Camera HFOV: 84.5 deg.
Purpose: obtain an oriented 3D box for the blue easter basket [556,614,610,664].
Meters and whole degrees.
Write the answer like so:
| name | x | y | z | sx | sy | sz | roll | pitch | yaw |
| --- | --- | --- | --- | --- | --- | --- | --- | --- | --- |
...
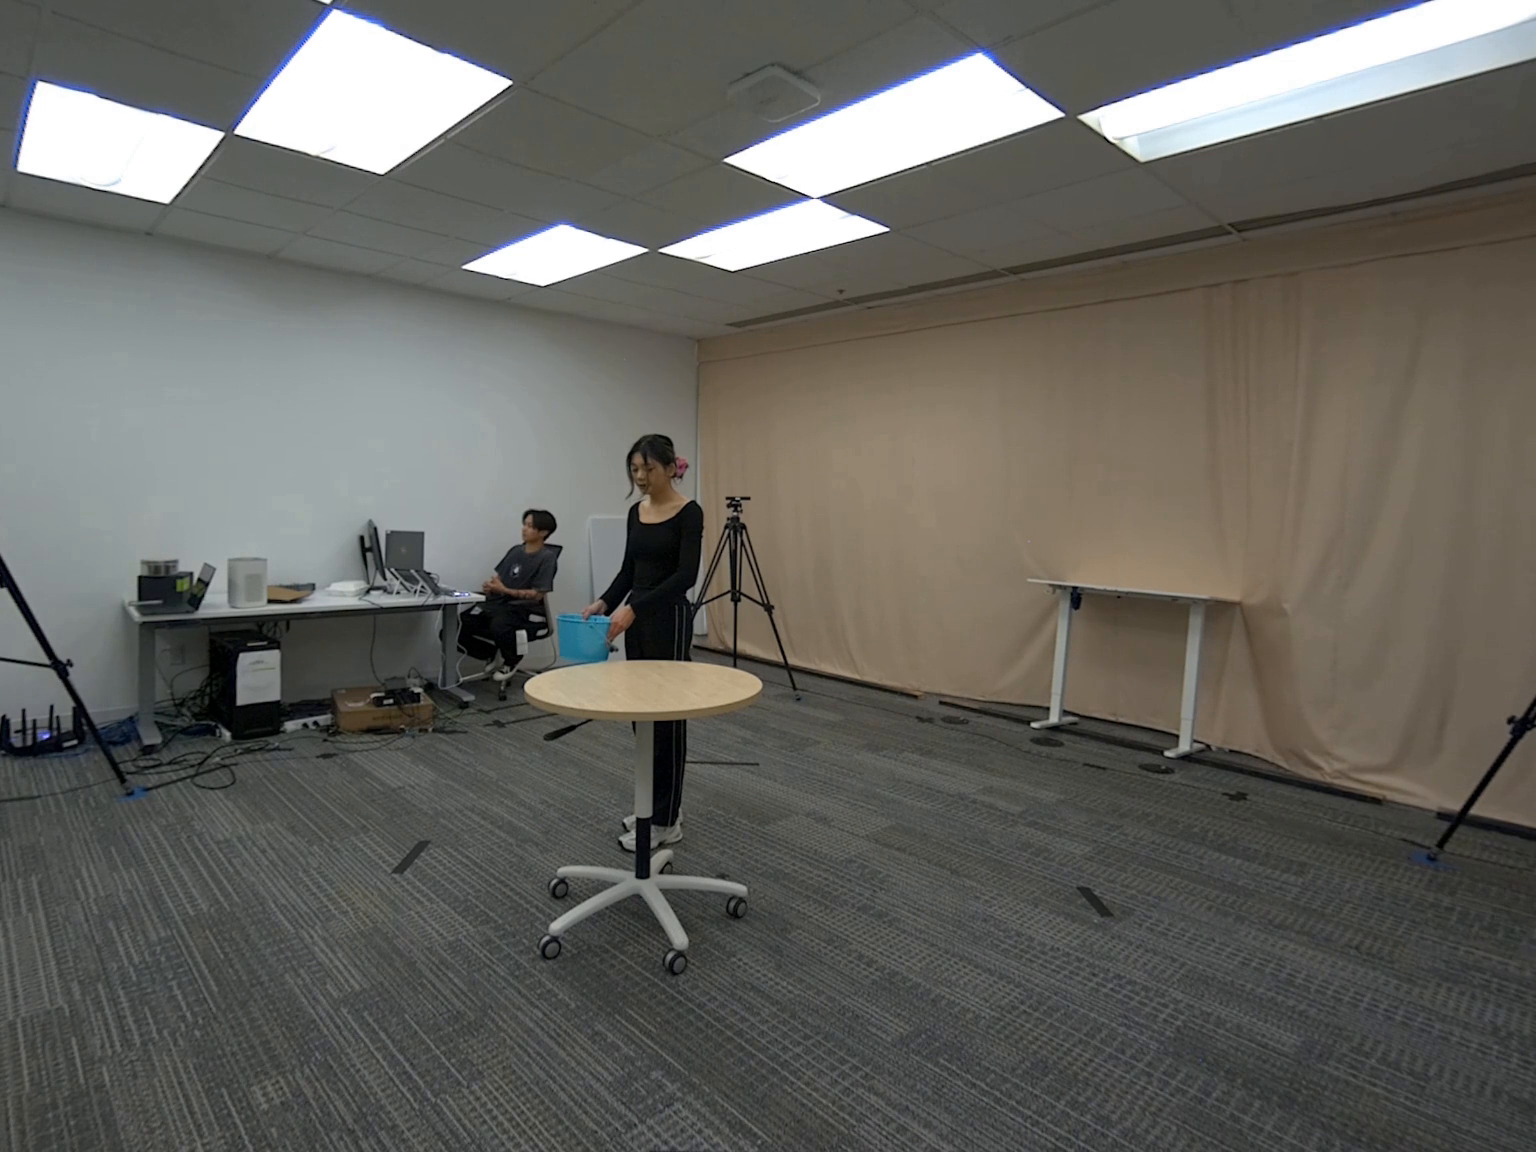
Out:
| name | x | y | z | sx | sy | sz | roll | pitch | yaw |
| --- | --- | --- | --- | --- | --- | --- | --- | --- | --- |
| blue easter basket | -0.707 | 0.237 | 3.201 | 0.243 | 0.156 | 0.244 | 4 | 2 | -1 |
